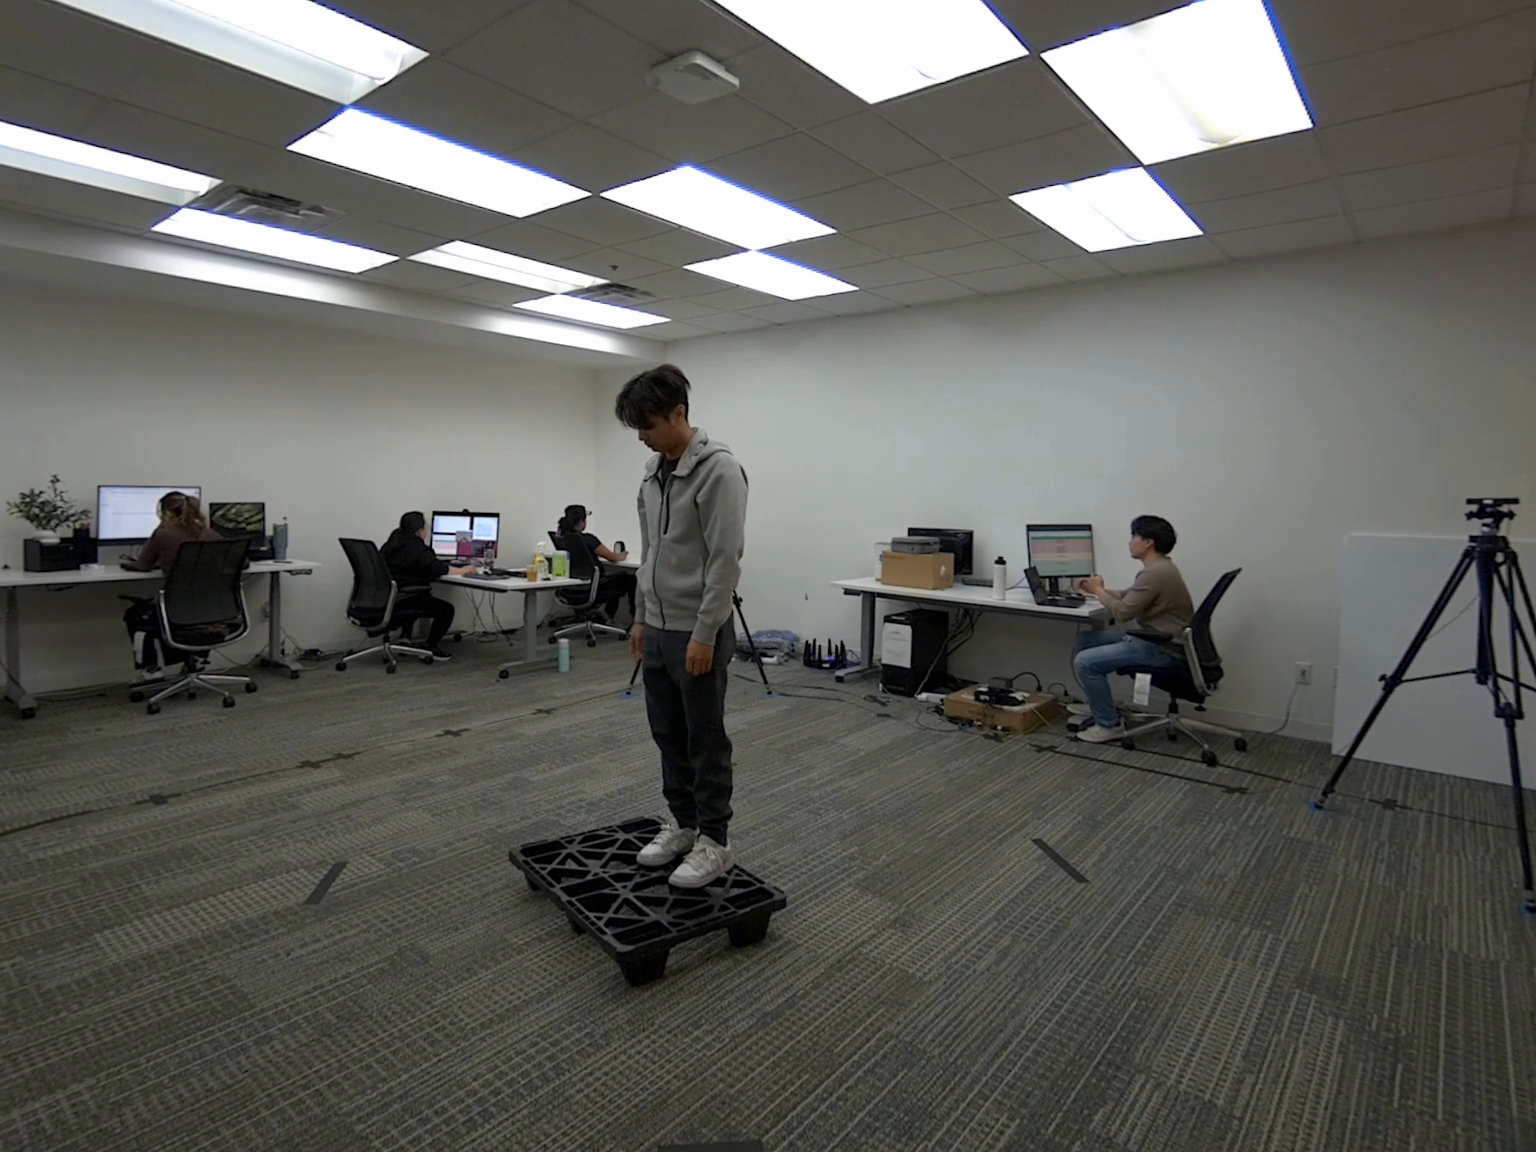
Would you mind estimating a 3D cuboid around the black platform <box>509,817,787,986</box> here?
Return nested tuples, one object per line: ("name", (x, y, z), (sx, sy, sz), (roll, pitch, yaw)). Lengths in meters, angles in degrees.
("black platform", (-0.425, 1.028, 2.791), (0.587, 0.143, 0.833), (-2, 6, -37))
